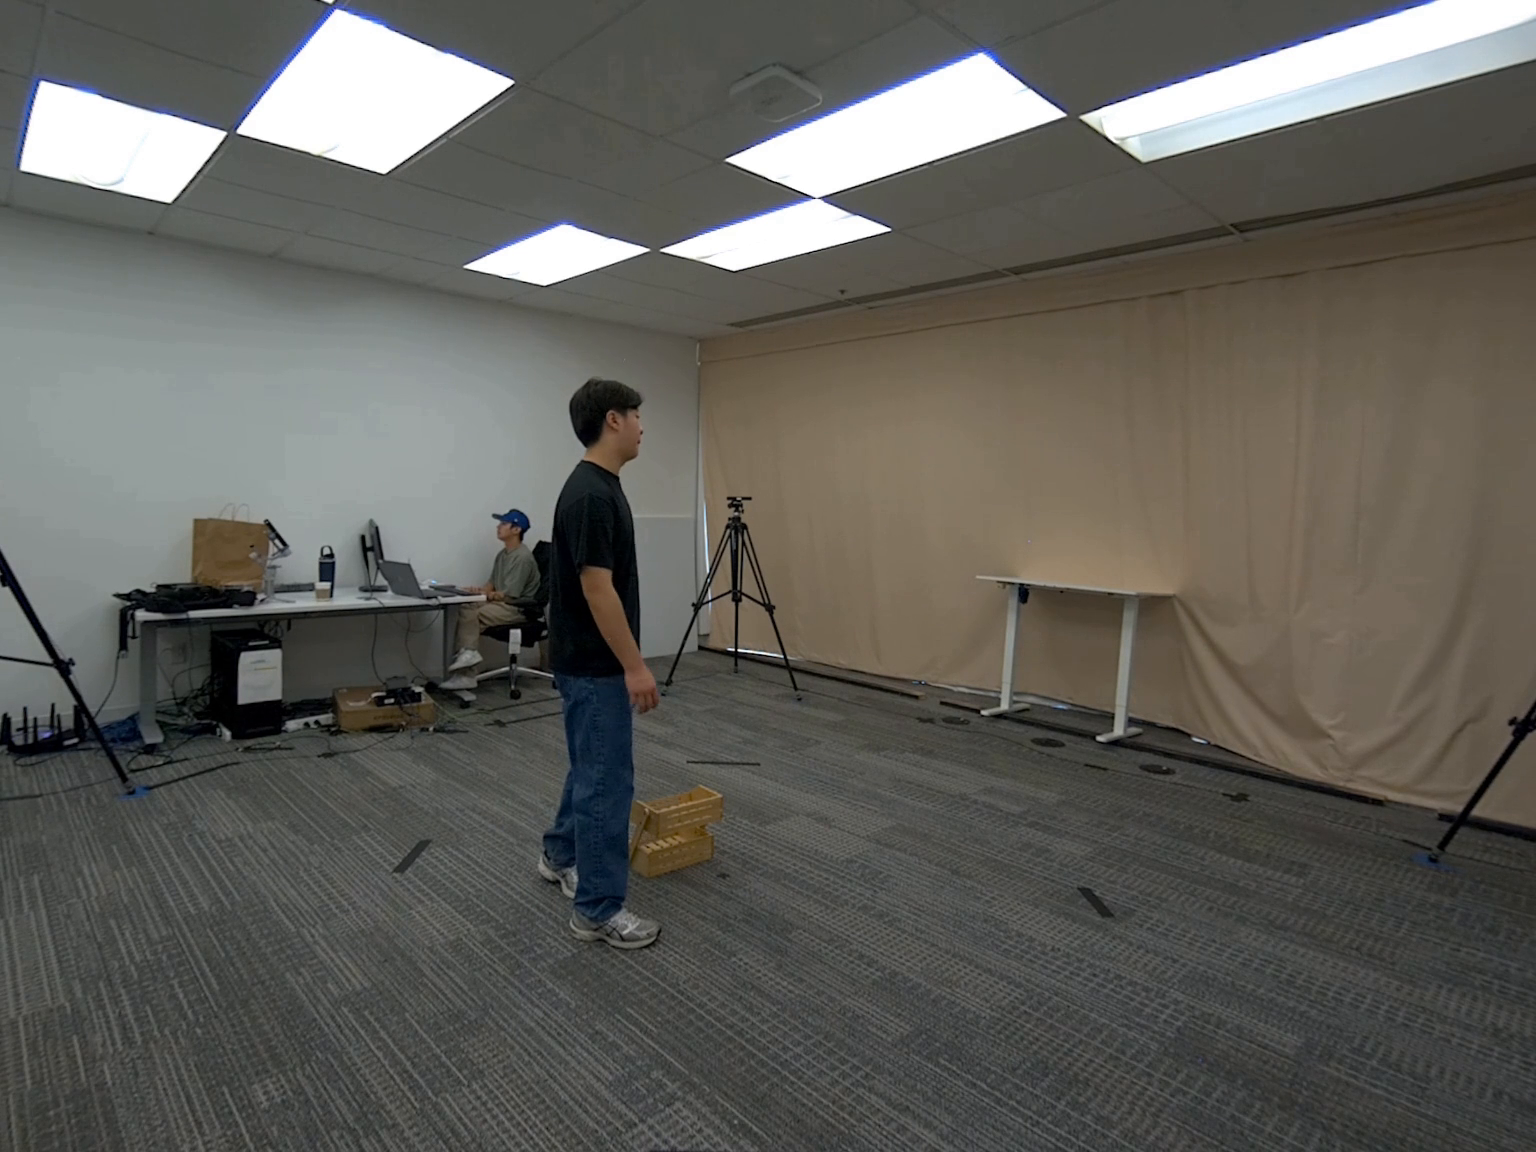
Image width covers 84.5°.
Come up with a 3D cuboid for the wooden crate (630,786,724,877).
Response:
[{"bbox_3d":[-0.391,0.958,3.232,0.317,0.272,0.310,-2,6,-40],"label":"wooden crate"}]
